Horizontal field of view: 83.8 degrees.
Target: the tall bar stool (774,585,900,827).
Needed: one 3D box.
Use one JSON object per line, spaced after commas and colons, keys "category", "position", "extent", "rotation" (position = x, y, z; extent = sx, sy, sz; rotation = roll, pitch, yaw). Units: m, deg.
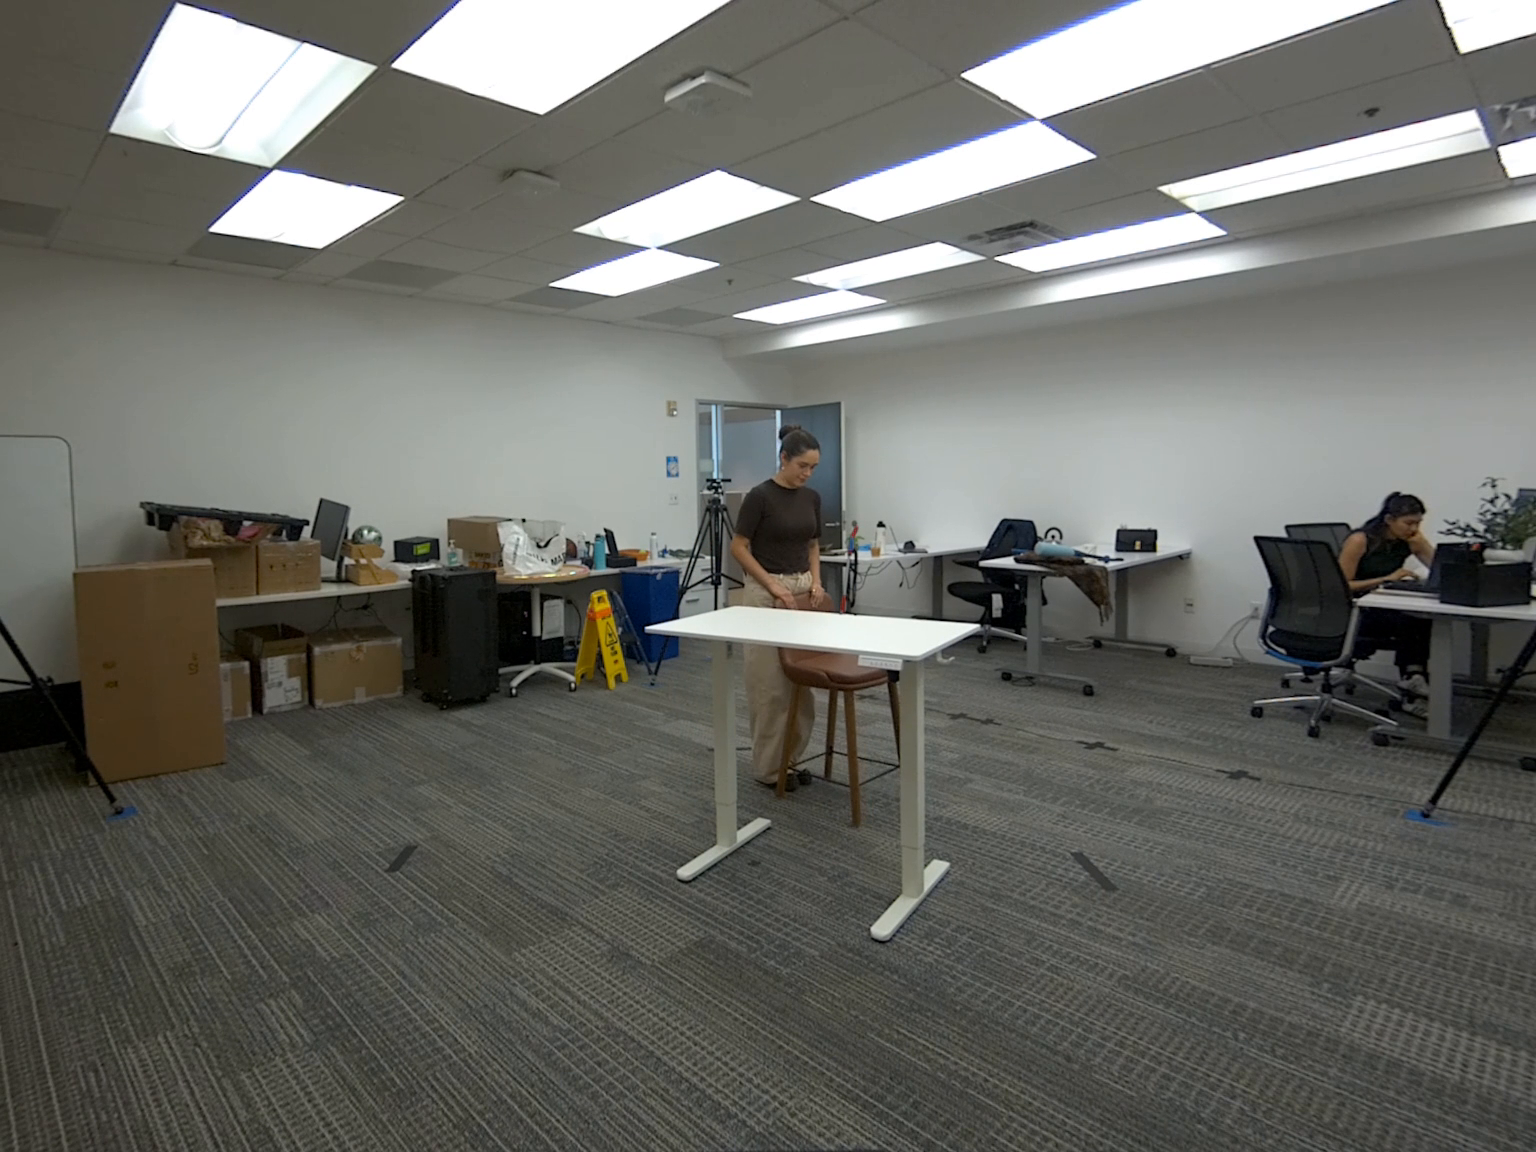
{"category": "tall bar stool", "position": [0.308, 0.534, 3.689], "extent": [0.481, 0.888, 0.444], "rotation": [1, 4, 43]}
